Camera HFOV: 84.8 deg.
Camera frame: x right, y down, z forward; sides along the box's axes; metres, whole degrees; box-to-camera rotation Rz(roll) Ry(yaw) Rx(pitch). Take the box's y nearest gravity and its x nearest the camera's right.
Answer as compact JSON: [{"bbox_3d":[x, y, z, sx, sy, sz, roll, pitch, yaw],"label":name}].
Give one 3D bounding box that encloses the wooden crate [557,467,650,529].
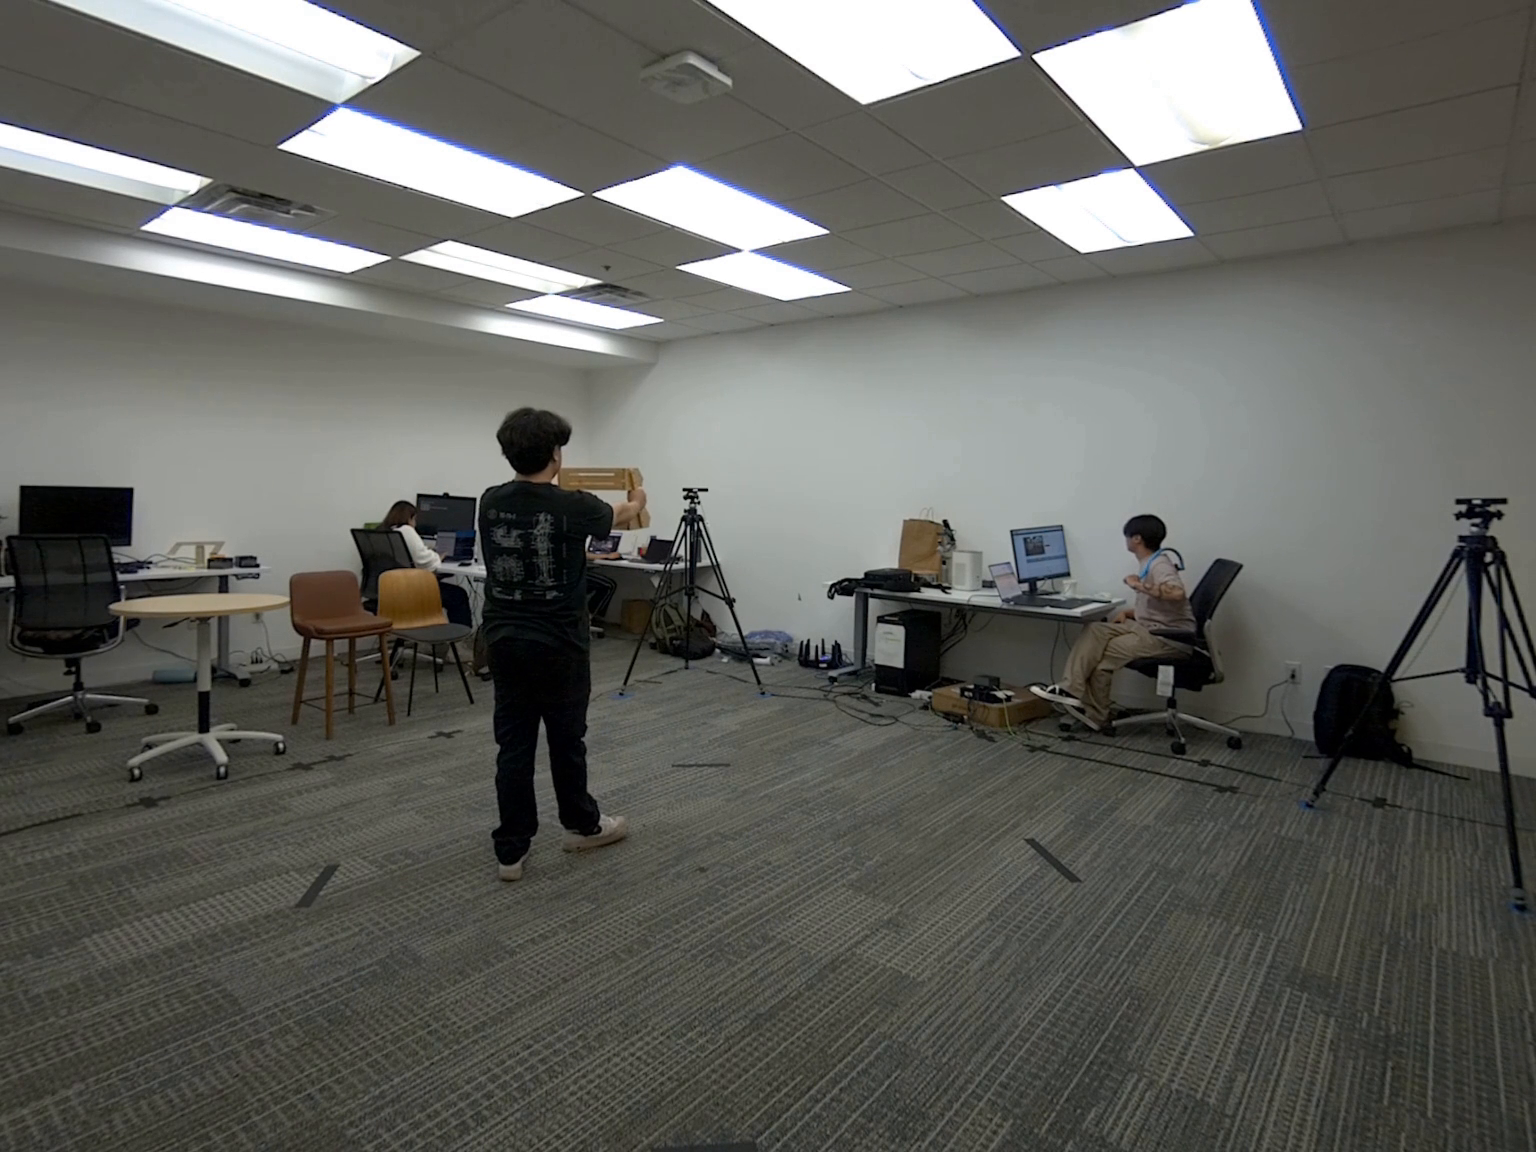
[{"bbox_3d":[-0.717,-0.341,3.666,0.329,0.272,0.299,2,6,13],"label":"wooden crate"}]
